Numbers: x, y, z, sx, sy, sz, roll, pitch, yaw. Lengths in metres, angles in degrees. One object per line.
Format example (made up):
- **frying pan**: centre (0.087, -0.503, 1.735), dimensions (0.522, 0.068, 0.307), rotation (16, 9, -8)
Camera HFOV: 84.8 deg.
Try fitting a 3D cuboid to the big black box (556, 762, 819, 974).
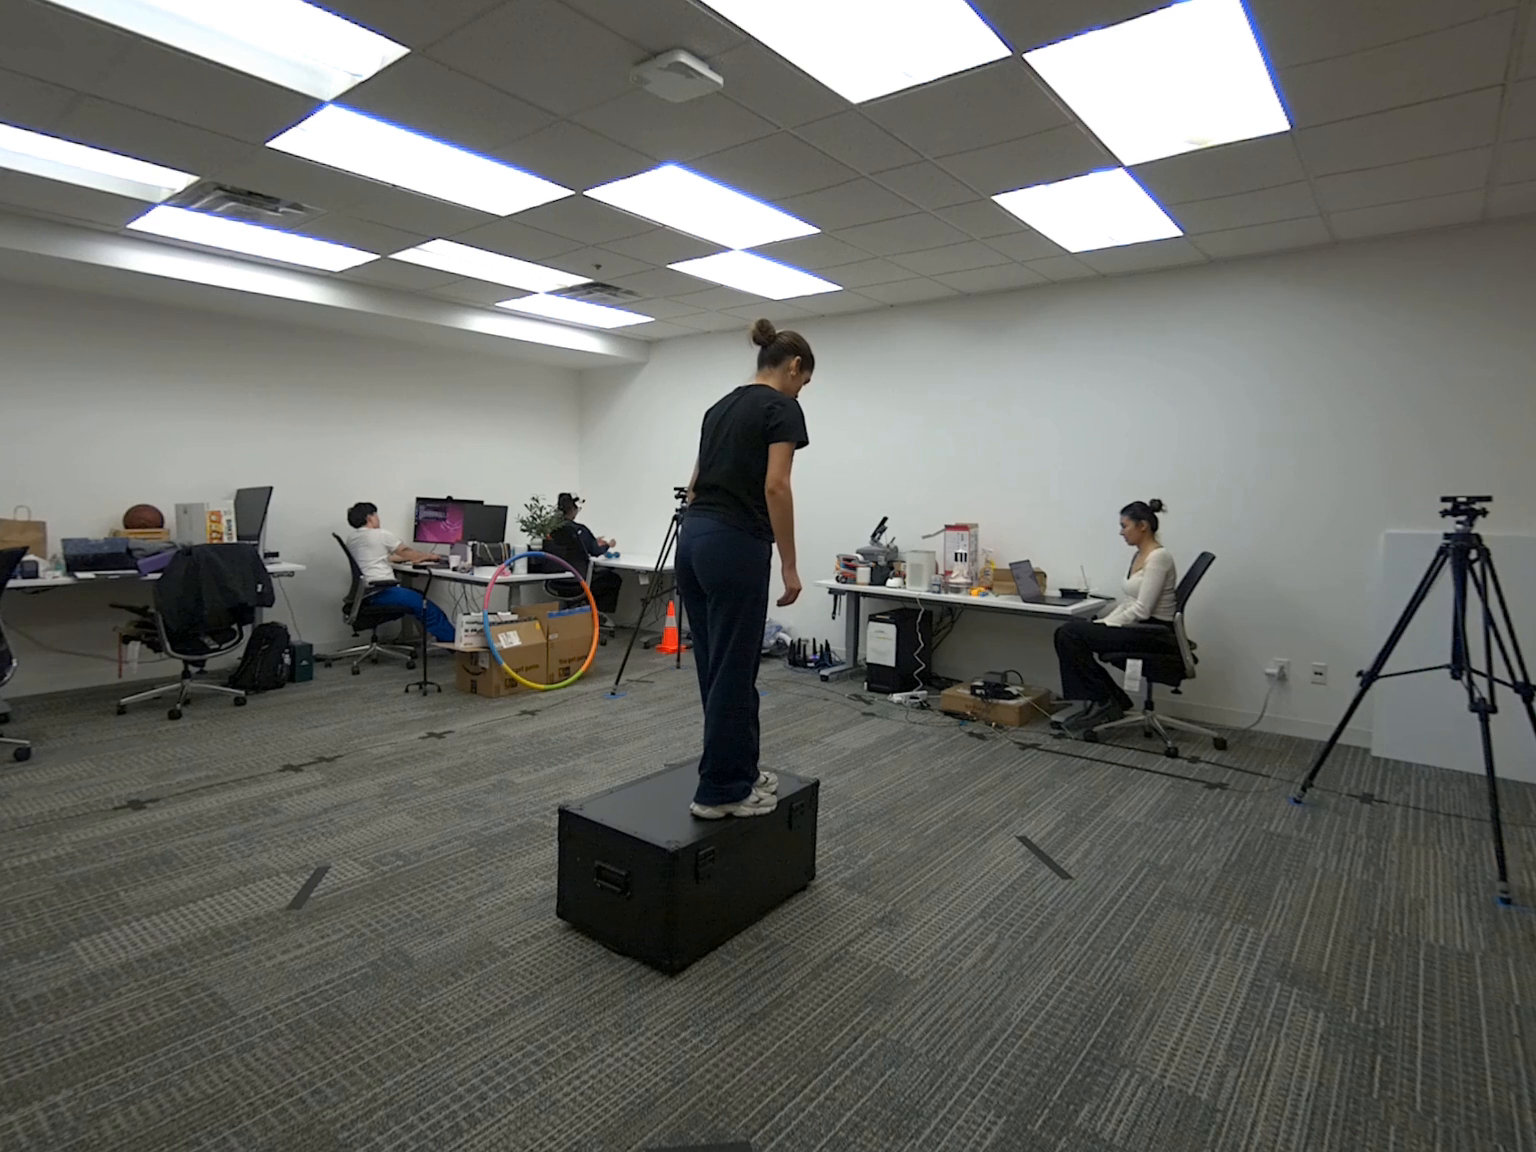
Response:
- **big black box**: centre (-0.214, 0.899, 2.864), dimensions (0.538, 0.394, 0.837), rotation (5, 7, 36)
